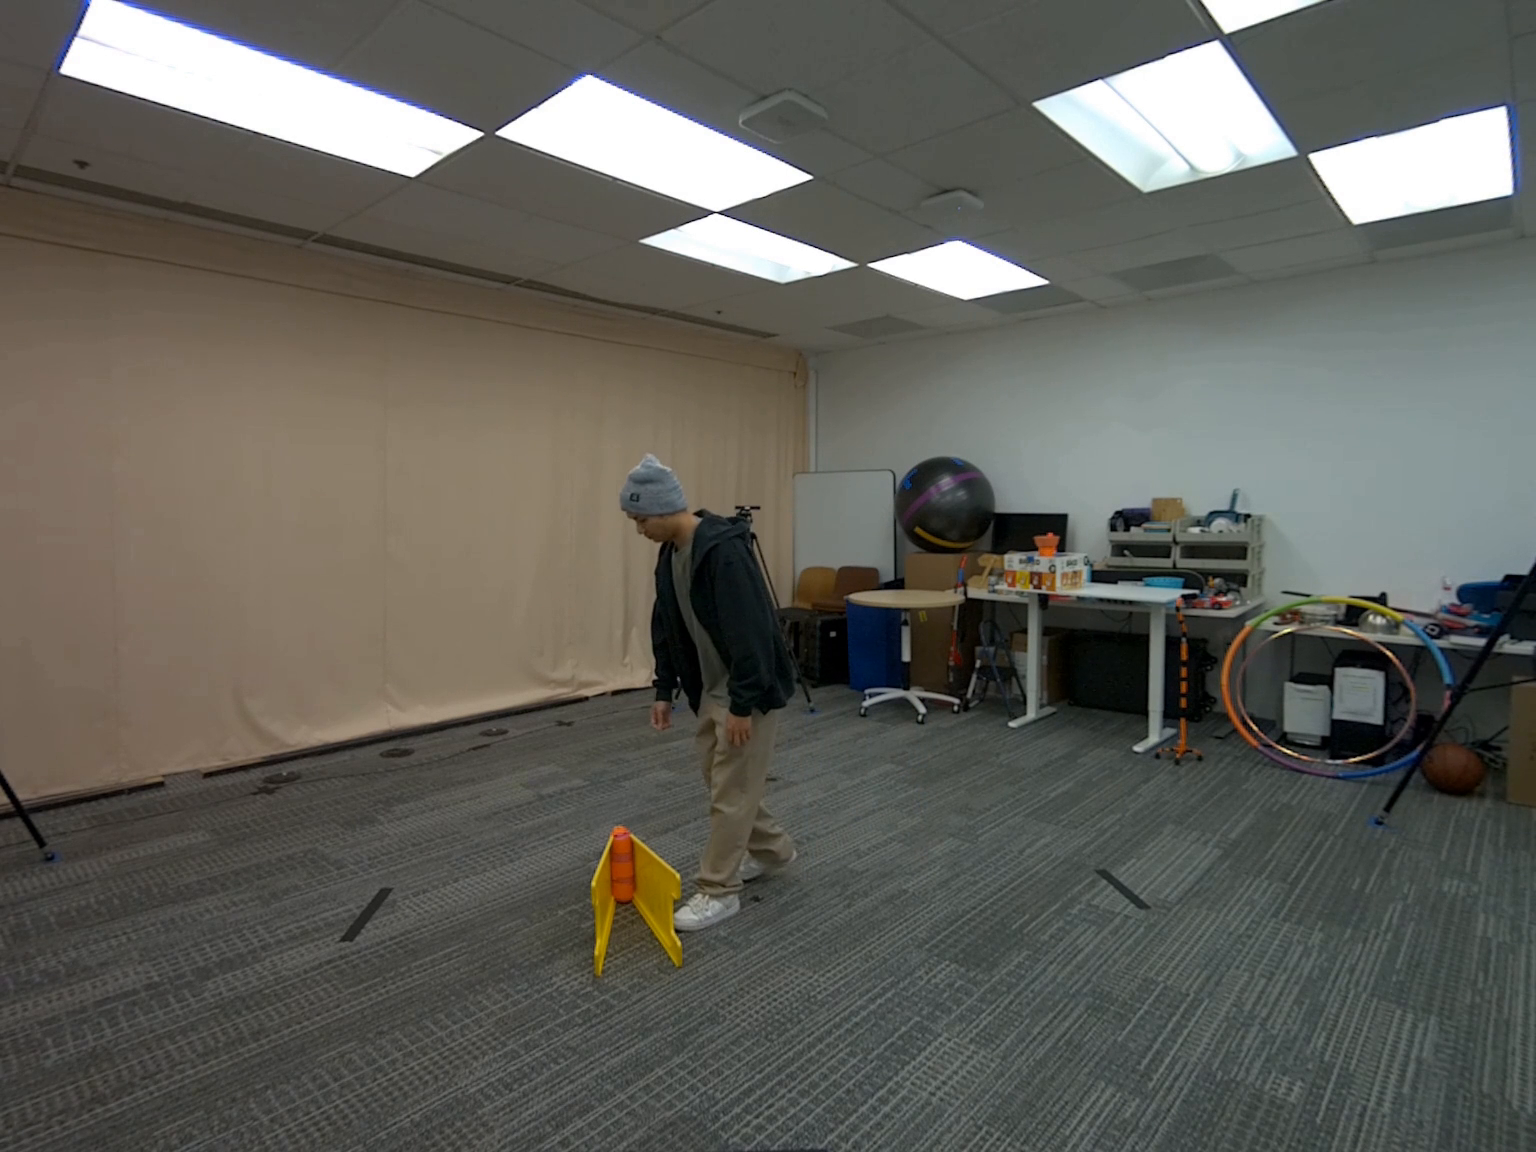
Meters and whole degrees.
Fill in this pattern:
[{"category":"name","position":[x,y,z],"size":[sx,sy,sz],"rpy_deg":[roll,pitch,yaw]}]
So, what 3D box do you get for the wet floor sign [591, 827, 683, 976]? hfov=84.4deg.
[{"category":"wet floor sign","position":[-0.478,1.036,2.821],"size":[0.286,0.282,0.655],"rpy_deg":[-1,1,-15]}]
